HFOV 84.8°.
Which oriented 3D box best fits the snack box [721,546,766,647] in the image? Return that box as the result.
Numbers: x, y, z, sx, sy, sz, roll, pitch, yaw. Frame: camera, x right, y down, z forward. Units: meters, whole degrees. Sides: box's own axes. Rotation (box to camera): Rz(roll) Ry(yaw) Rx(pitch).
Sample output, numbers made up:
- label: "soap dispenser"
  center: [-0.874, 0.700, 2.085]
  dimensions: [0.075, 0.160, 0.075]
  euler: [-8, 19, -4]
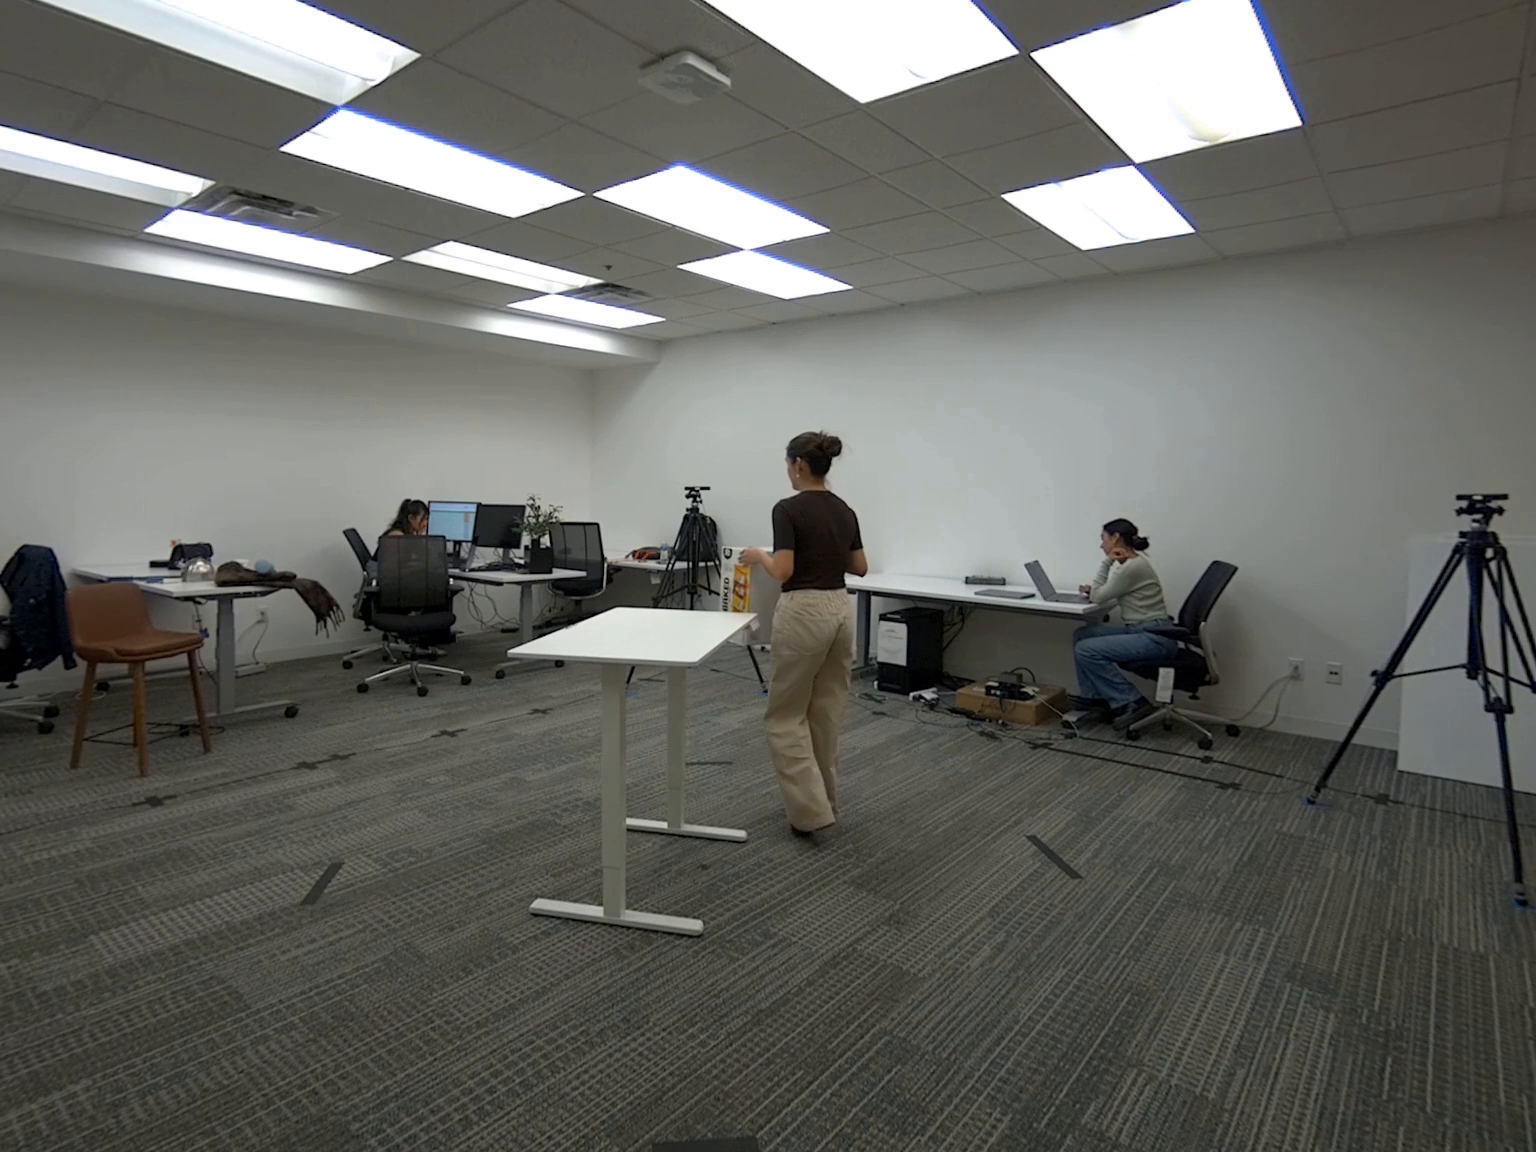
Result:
- label: "snack box"
  center: [-0.026, 0.078, 3.759]
  dimensions: [0.330, 0.404, 0.212]
  euler: [0, 4, -37]
